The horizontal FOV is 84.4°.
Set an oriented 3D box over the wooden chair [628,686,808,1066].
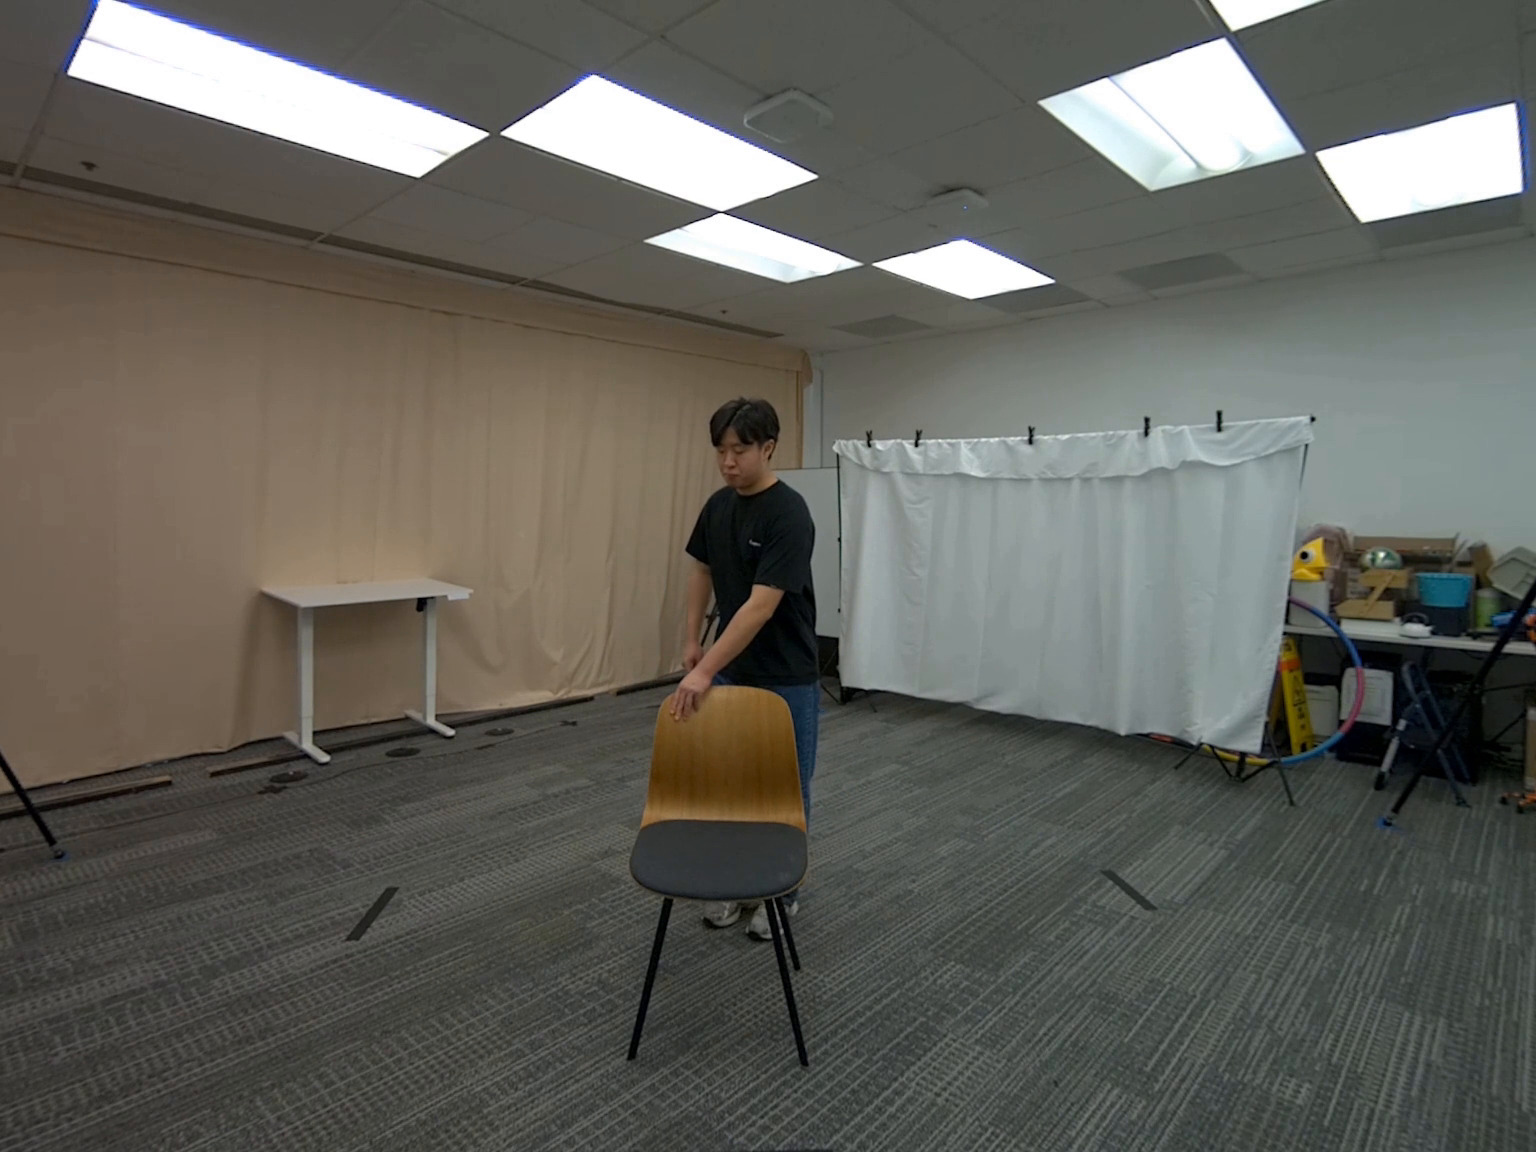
[{"bbox_3d":[-0.112,0.770,2.286,0.479,0.878,0.521,1,-1,1],"label":"wooden chair"}]
